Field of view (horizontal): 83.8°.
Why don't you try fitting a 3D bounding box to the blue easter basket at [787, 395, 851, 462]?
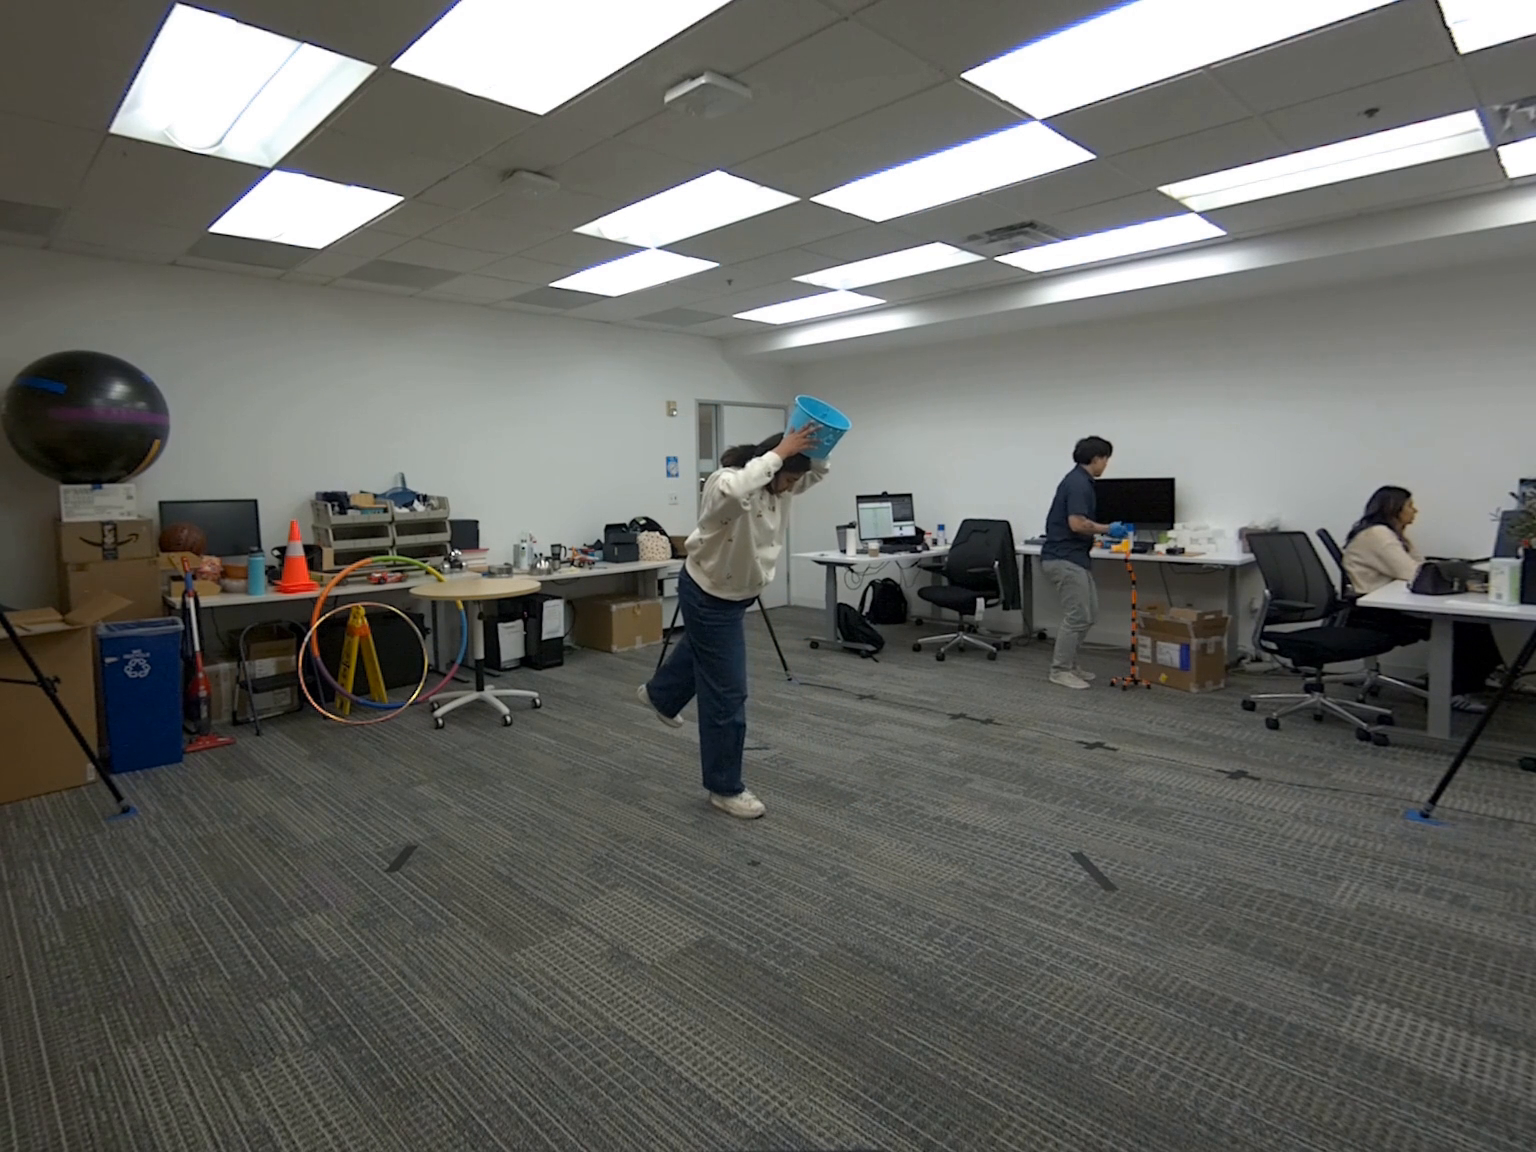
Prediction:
[{"bbox_3d":[0.187,-0.549,3.190,0.240,0.154,0.250,20,30,-14],"label":"blue easter basket"}]
